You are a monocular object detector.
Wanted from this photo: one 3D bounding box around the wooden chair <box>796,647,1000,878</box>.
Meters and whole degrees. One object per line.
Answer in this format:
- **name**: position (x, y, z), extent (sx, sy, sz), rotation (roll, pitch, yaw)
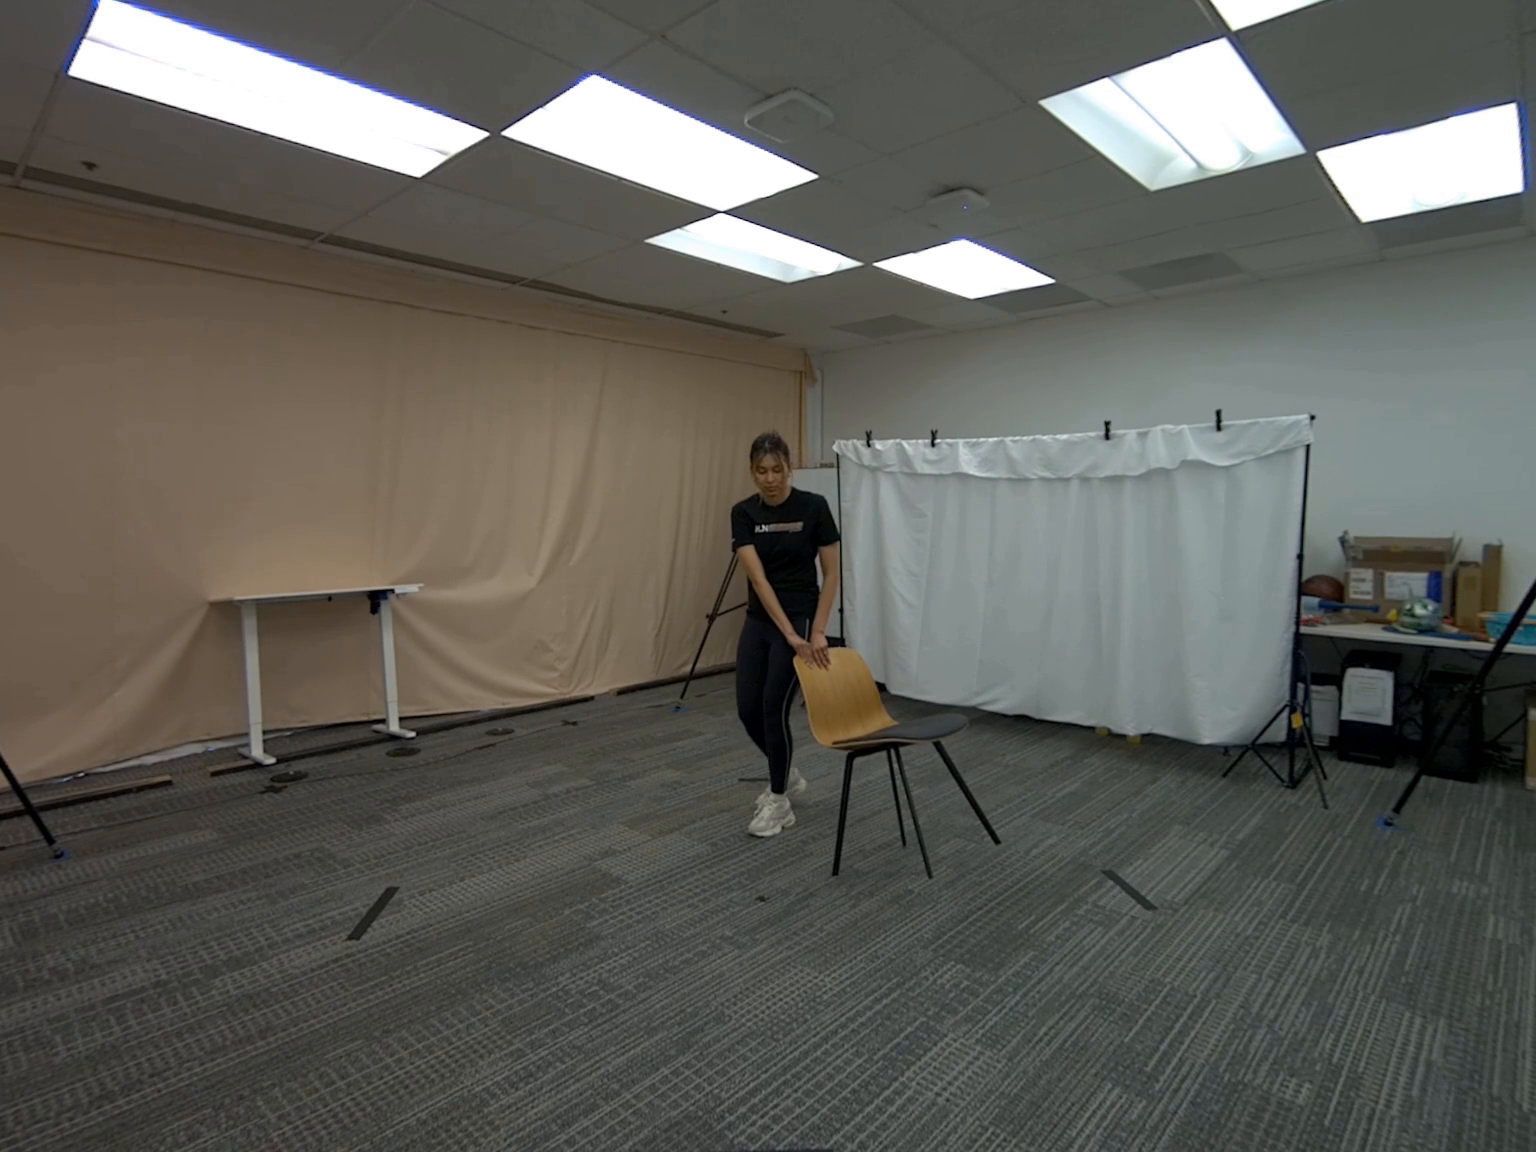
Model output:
- **wooden chair**: position (0.476, 0.648, 3.202), extent (0.463, 0.887, 0.533), rotation (-2, -17, -43)
